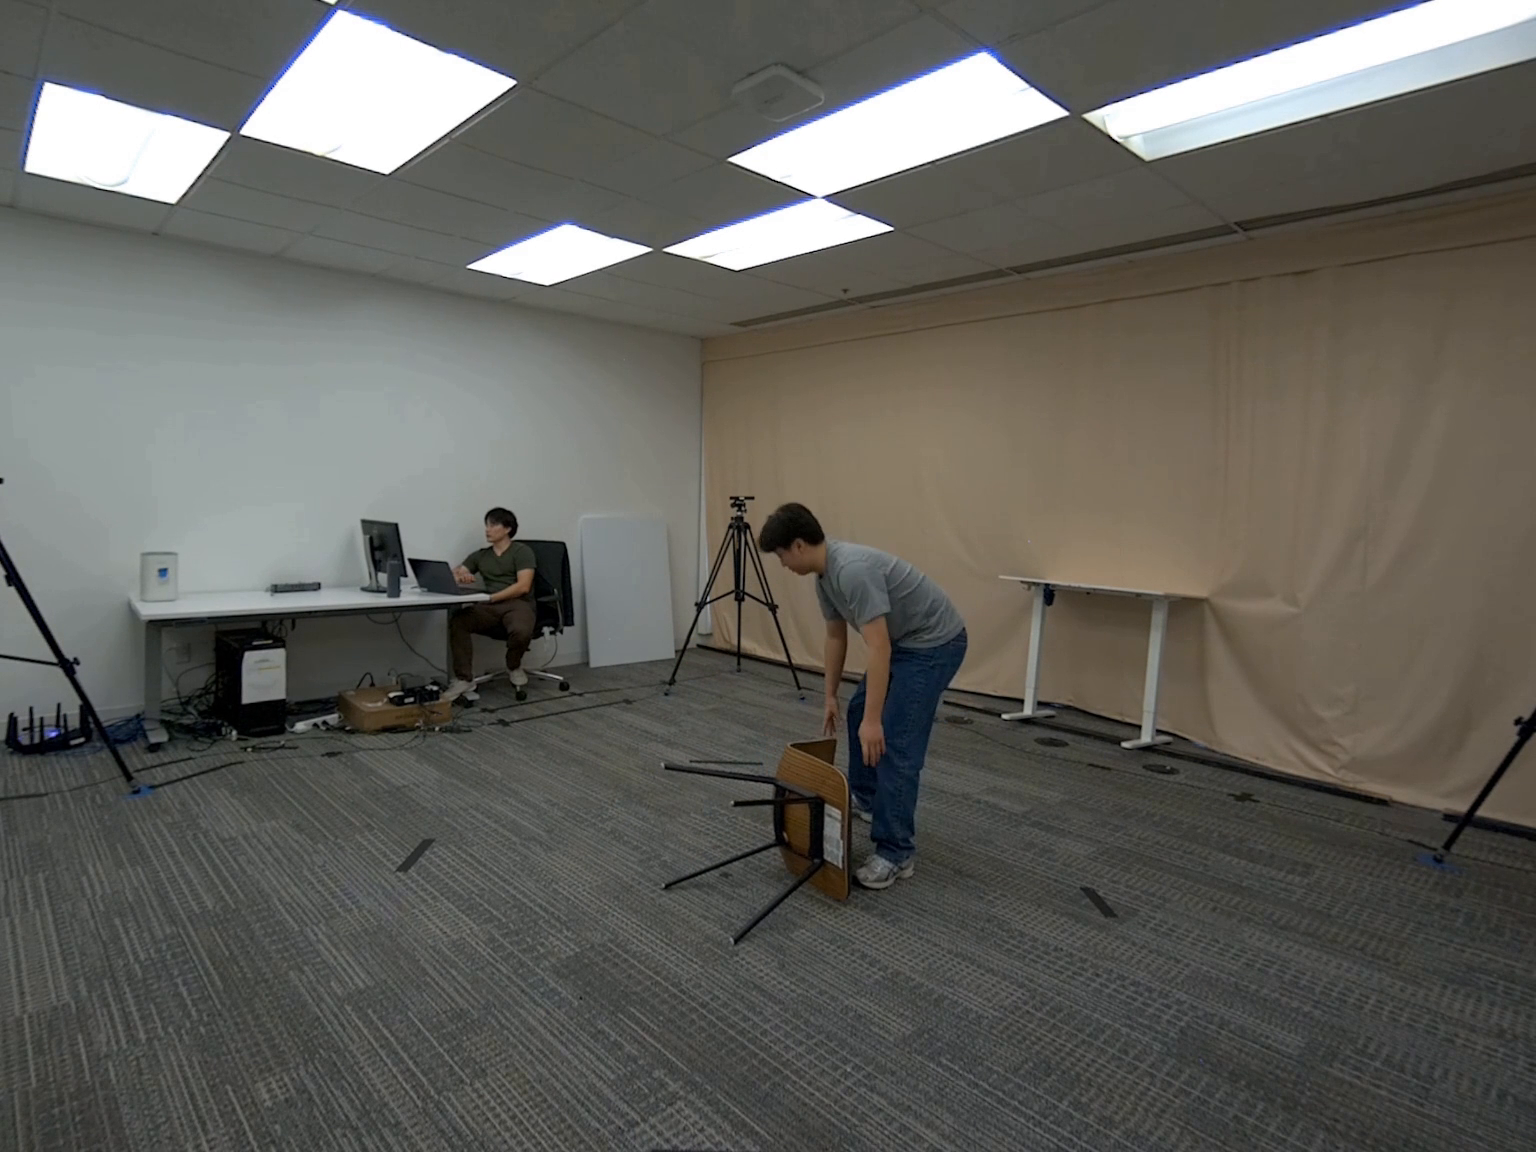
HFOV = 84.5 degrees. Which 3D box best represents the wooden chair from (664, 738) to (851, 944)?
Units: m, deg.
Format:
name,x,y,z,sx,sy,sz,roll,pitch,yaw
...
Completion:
name,x,y,z,sx,sy,sz,roll,pitch,yaw
wooden chair,0.103,0.884,3.016,0.858,0.477,0.536,-3,6,-40
